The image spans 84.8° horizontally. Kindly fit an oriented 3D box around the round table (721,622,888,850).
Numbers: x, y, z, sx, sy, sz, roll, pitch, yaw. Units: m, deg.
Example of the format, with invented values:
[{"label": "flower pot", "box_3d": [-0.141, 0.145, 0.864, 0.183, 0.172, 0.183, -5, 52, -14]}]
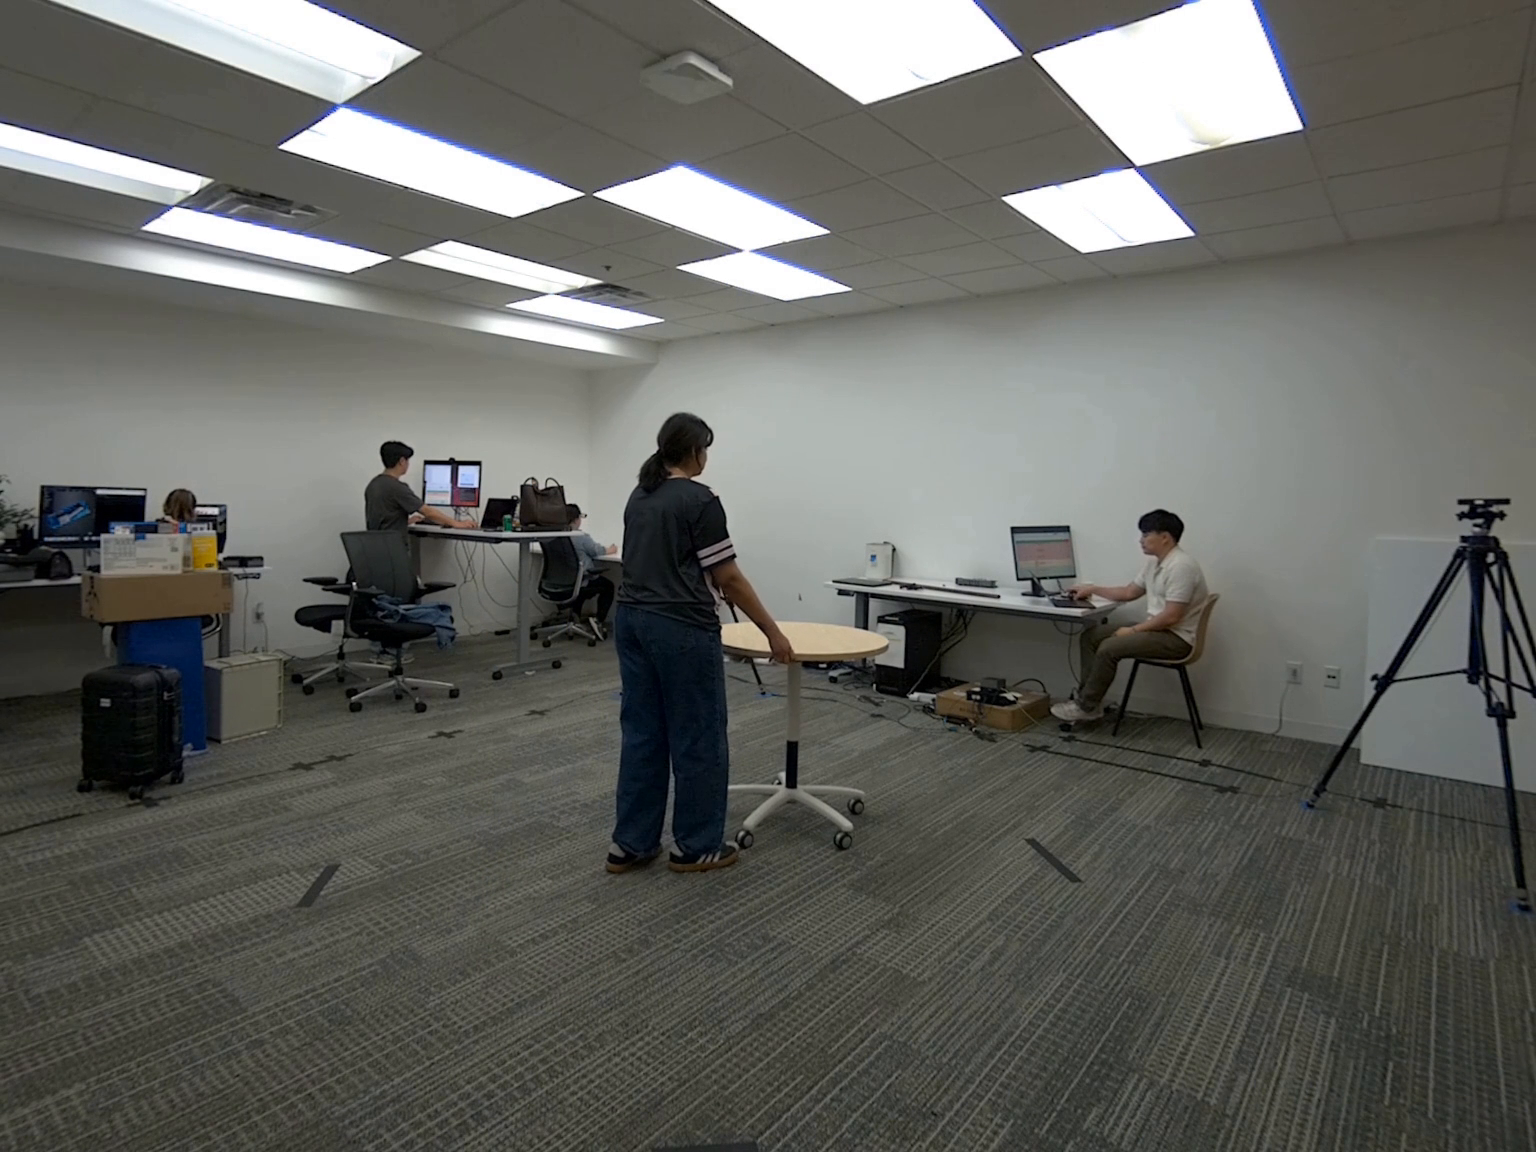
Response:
[{"label": "round table", "box_3d": [0.081, 0.636, 3.569, 0.784, 0.784, 0.789, 2, 4, -2]}]
